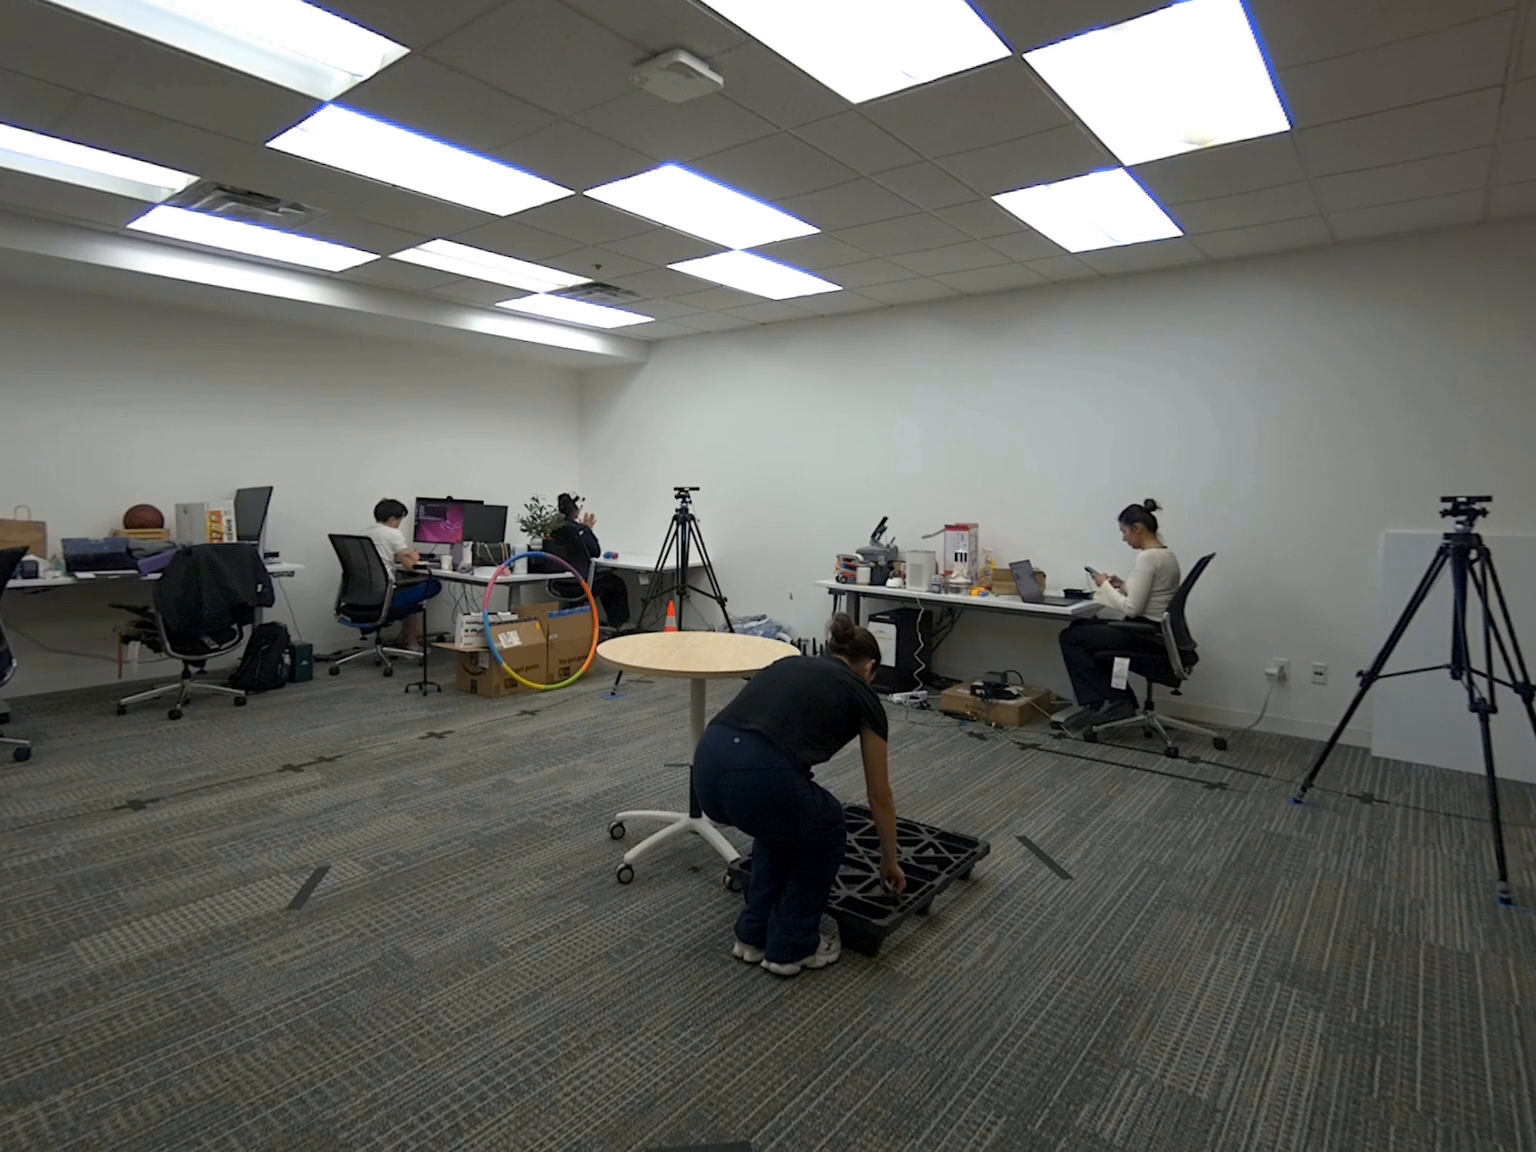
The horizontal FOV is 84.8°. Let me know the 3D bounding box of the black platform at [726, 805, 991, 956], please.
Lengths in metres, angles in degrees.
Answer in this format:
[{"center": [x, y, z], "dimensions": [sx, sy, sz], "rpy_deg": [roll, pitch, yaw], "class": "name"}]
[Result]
[{"center": [0.345, 1.024, 2.967], "dimensions": [0.625, 0.143, 0.782], "rpy_deg": [5, 7, 38], "class": "black platform"}]
